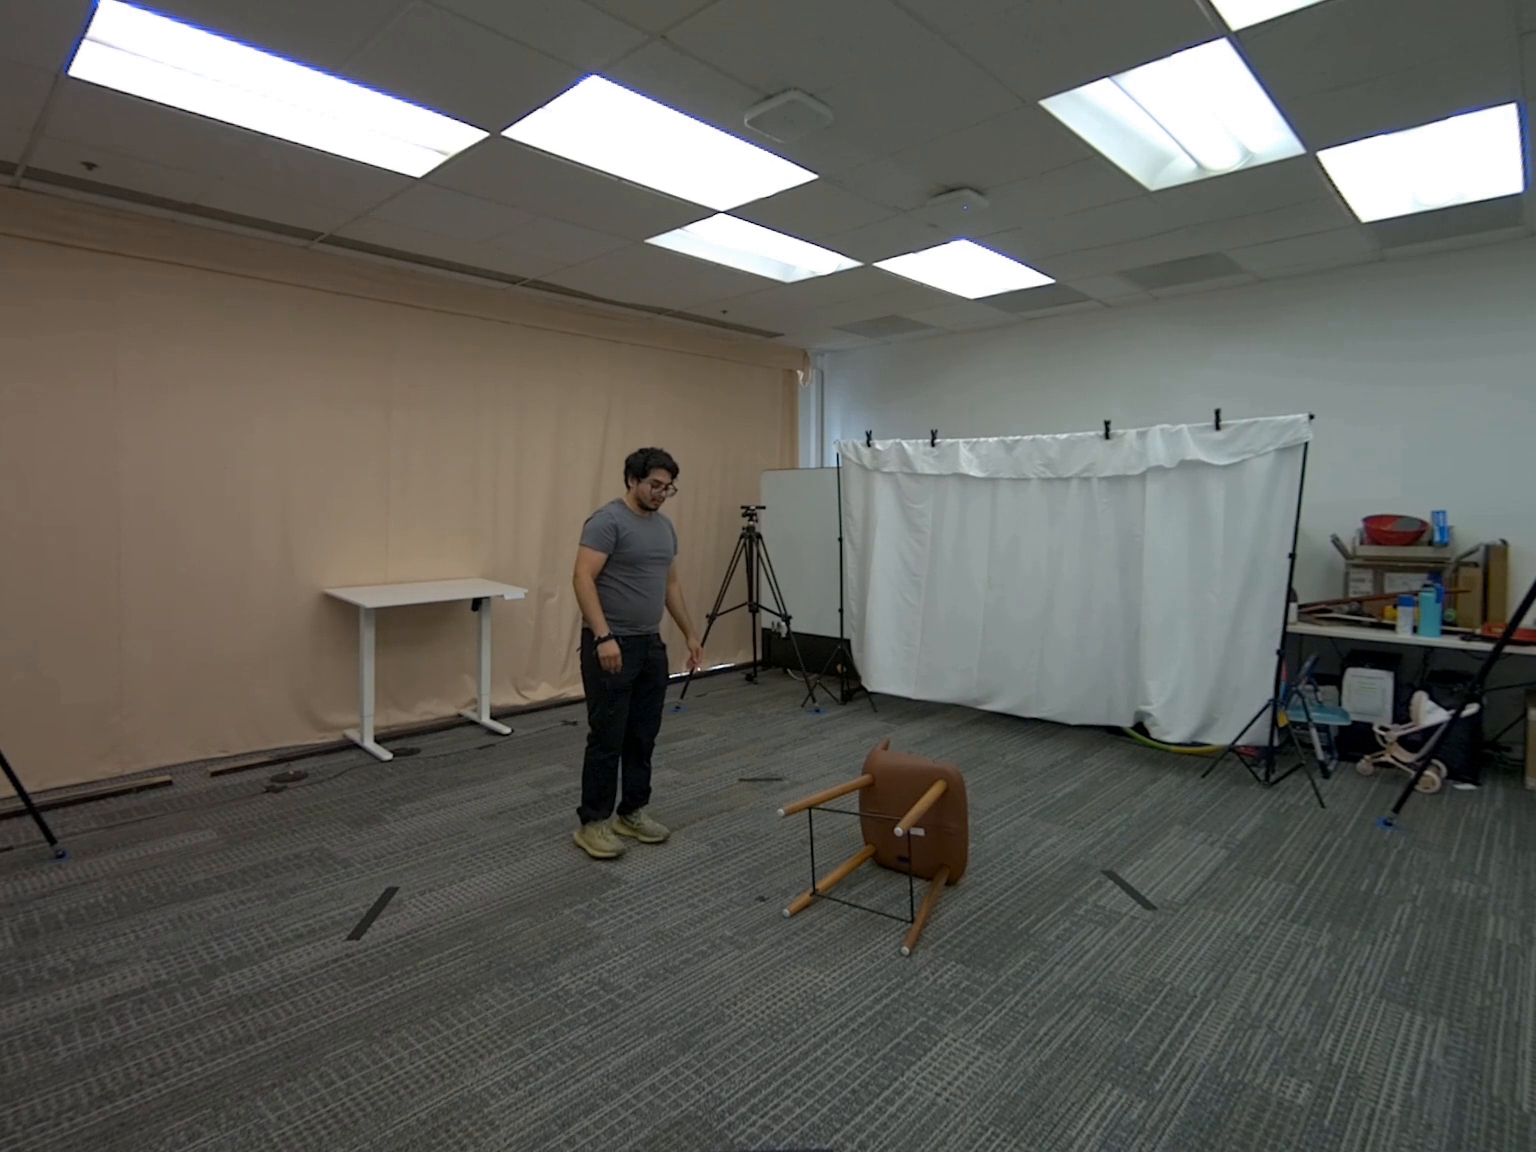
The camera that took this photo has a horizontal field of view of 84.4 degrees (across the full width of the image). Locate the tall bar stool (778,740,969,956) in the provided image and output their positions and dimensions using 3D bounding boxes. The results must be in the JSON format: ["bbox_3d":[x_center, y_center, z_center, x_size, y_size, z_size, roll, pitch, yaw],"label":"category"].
[{"bbox_3d":[0.458,0.923,3.065,0.481,0.455,0.867,-1,5,32],"label":"tall bar stool"}]
